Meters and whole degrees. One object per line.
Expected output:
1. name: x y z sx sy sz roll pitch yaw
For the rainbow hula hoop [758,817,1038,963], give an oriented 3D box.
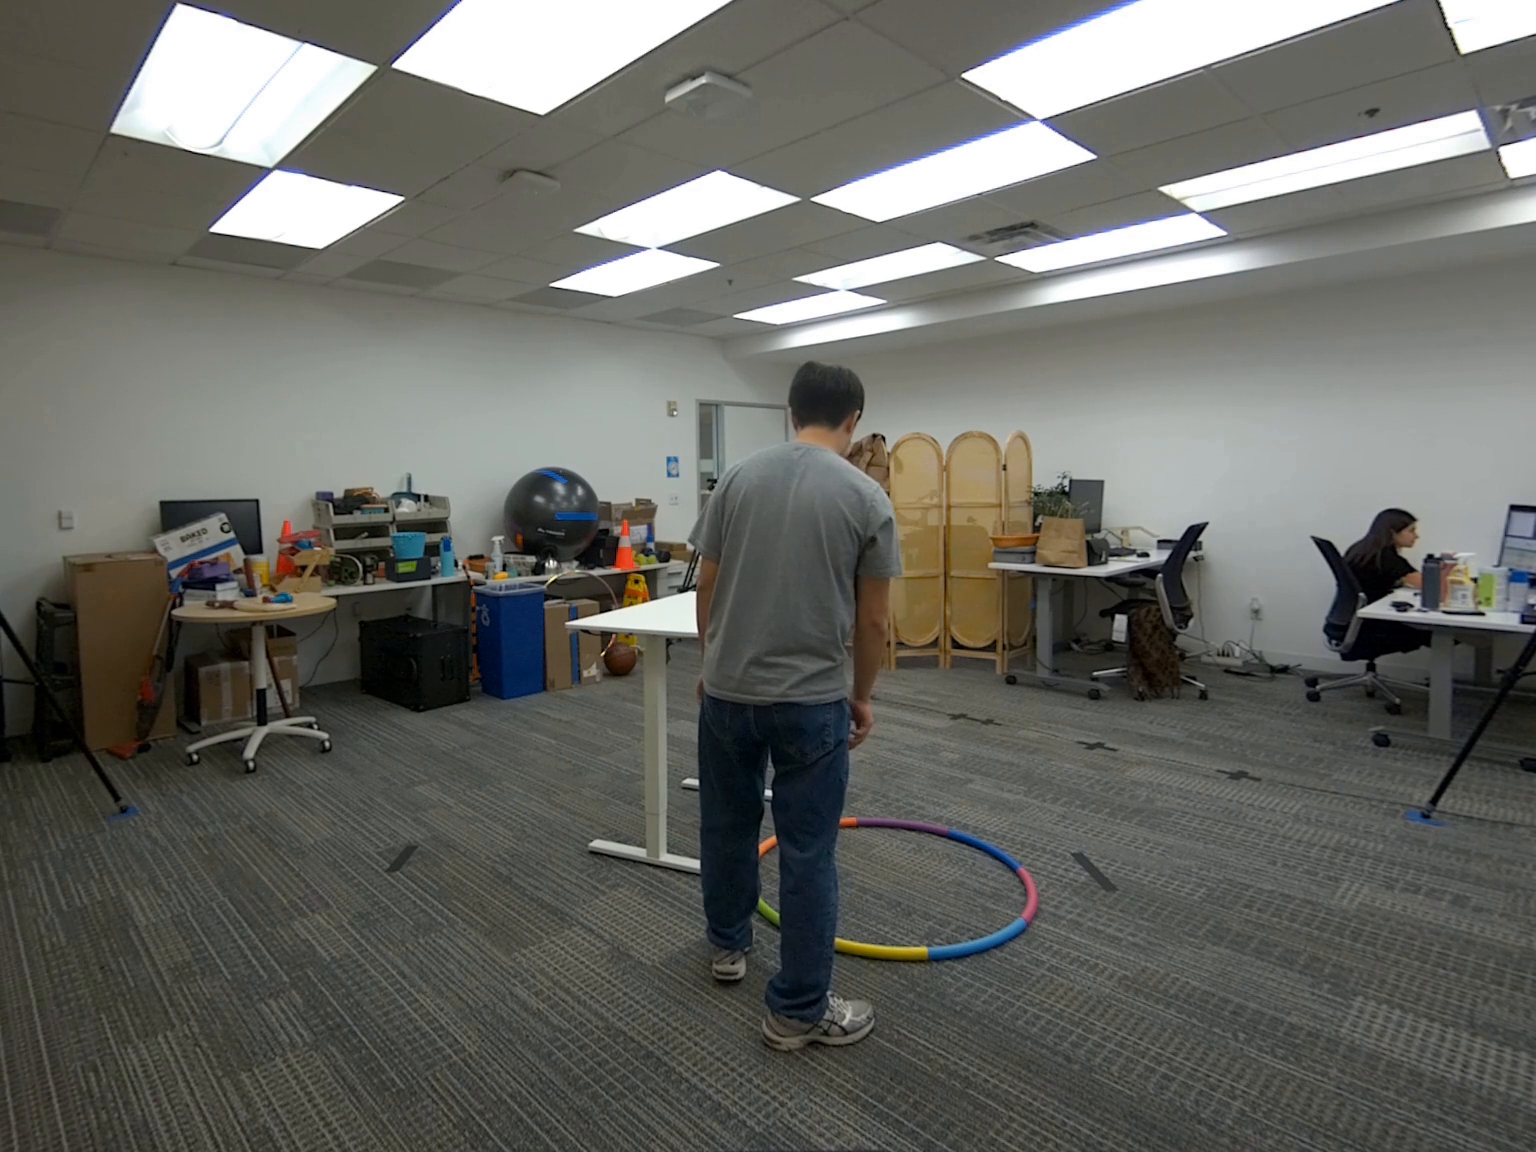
1. rainbow hula hoop: 0.396 1.026 2.942 0.978 0.035 0.984 -1 7 -2
